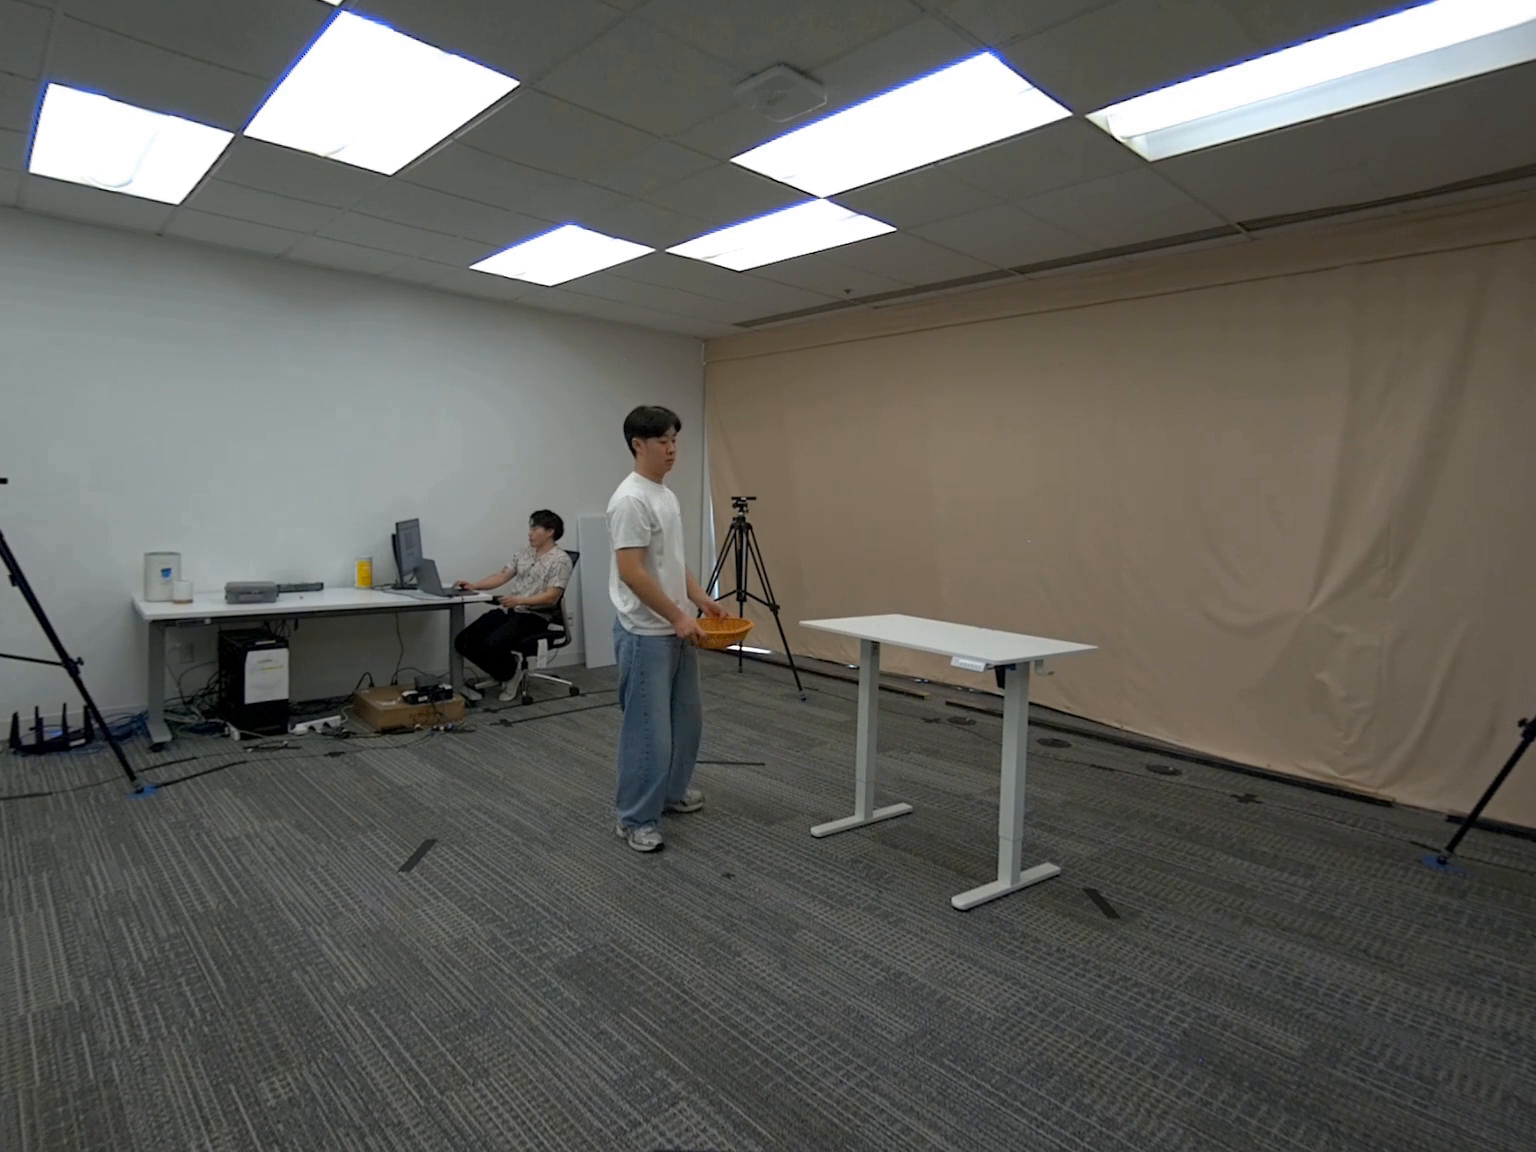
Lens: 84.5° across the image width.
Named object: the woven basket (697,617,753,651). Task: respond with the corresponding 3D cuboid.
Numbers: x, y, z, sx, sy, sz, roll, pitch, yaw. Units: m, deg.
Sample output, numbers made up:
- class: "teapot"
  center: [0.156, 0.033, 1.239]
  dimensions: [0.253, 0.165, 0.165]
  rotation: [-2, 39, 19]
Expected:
- class: "woven basket"
  center: [-0.222, 0.219, 3.347]
  dimensions: [0.255, 0.073, 0.348]
  rotation: [4, 7, 14]
